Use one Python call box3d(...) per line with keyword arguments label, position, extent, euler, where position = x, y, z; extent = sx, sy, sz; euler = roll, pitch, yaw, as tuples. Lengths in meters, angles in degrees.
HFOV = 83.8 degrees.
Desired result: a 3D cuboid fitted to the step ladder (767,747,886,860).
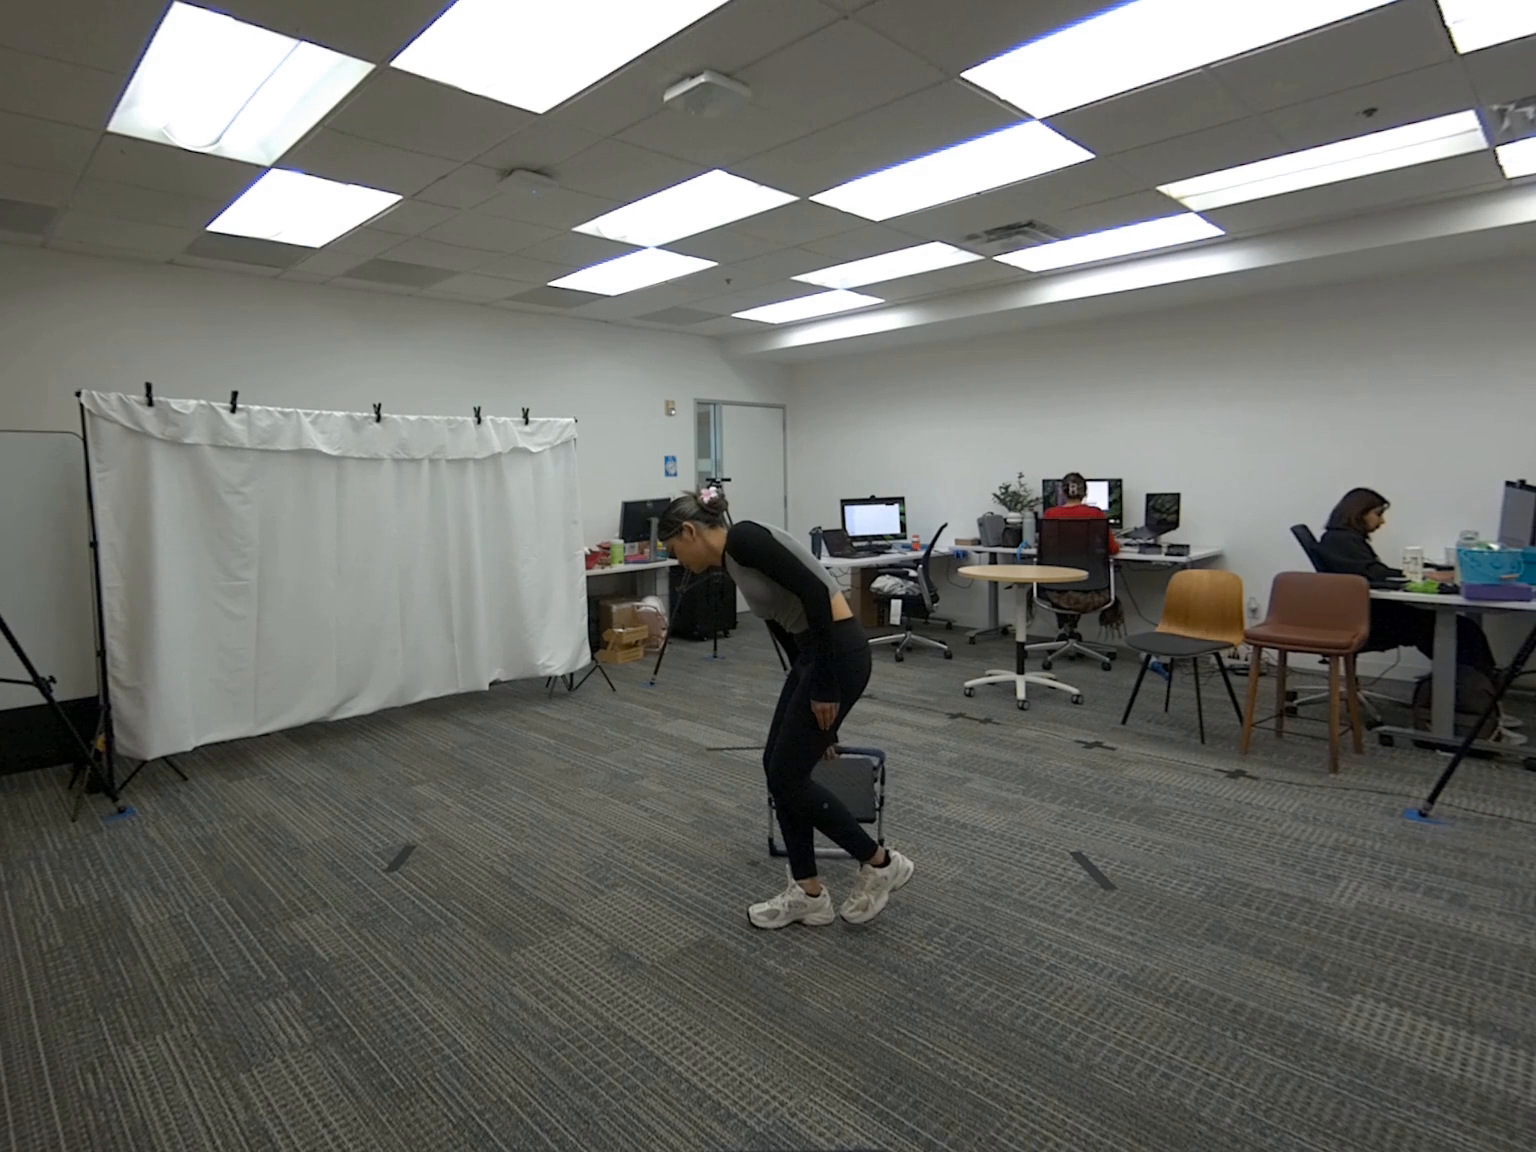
box3d(label="step ladder", position=(0.206, 0.715, 3.057), extent=(0.432, 0.588, 0.358), euler=(-1, 47, 3))
